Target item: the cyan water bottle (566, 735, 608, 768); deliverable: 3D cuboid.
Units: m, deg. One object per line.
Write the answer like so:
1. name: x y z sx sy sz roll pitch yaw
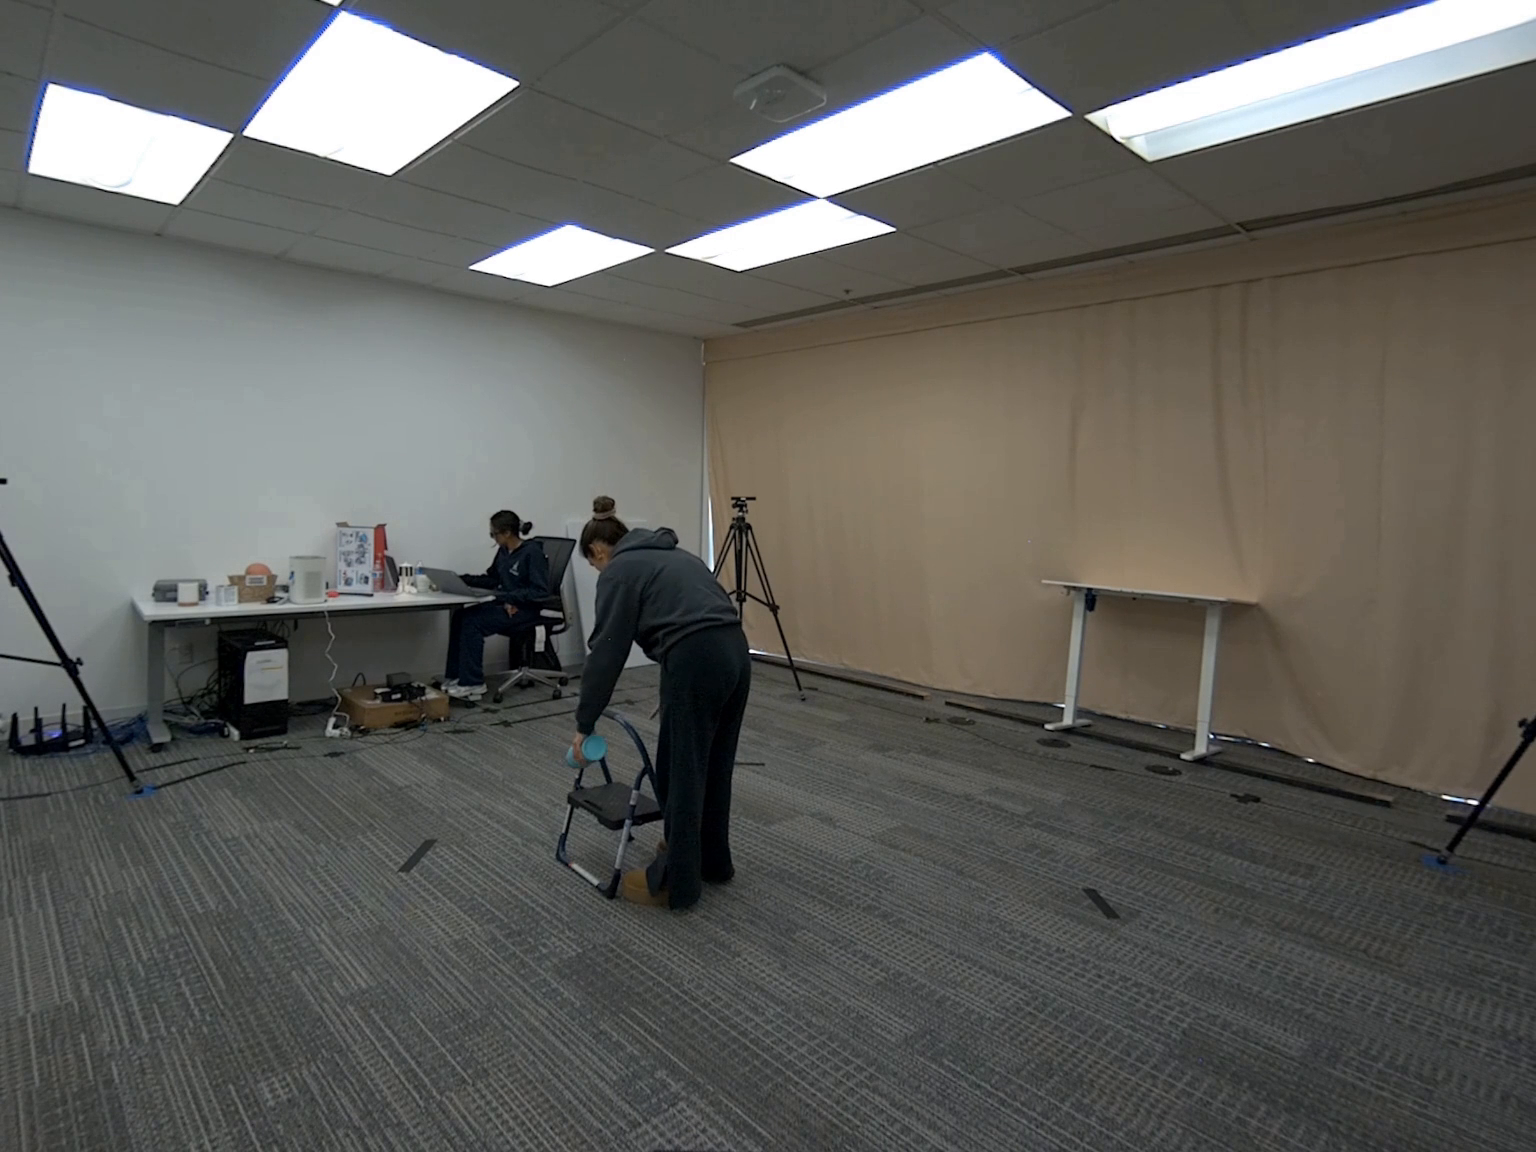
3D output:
1. cyan water bottle: -0.649 0.617 2.990 0.091 0.093 0.284 0 -18 -25
